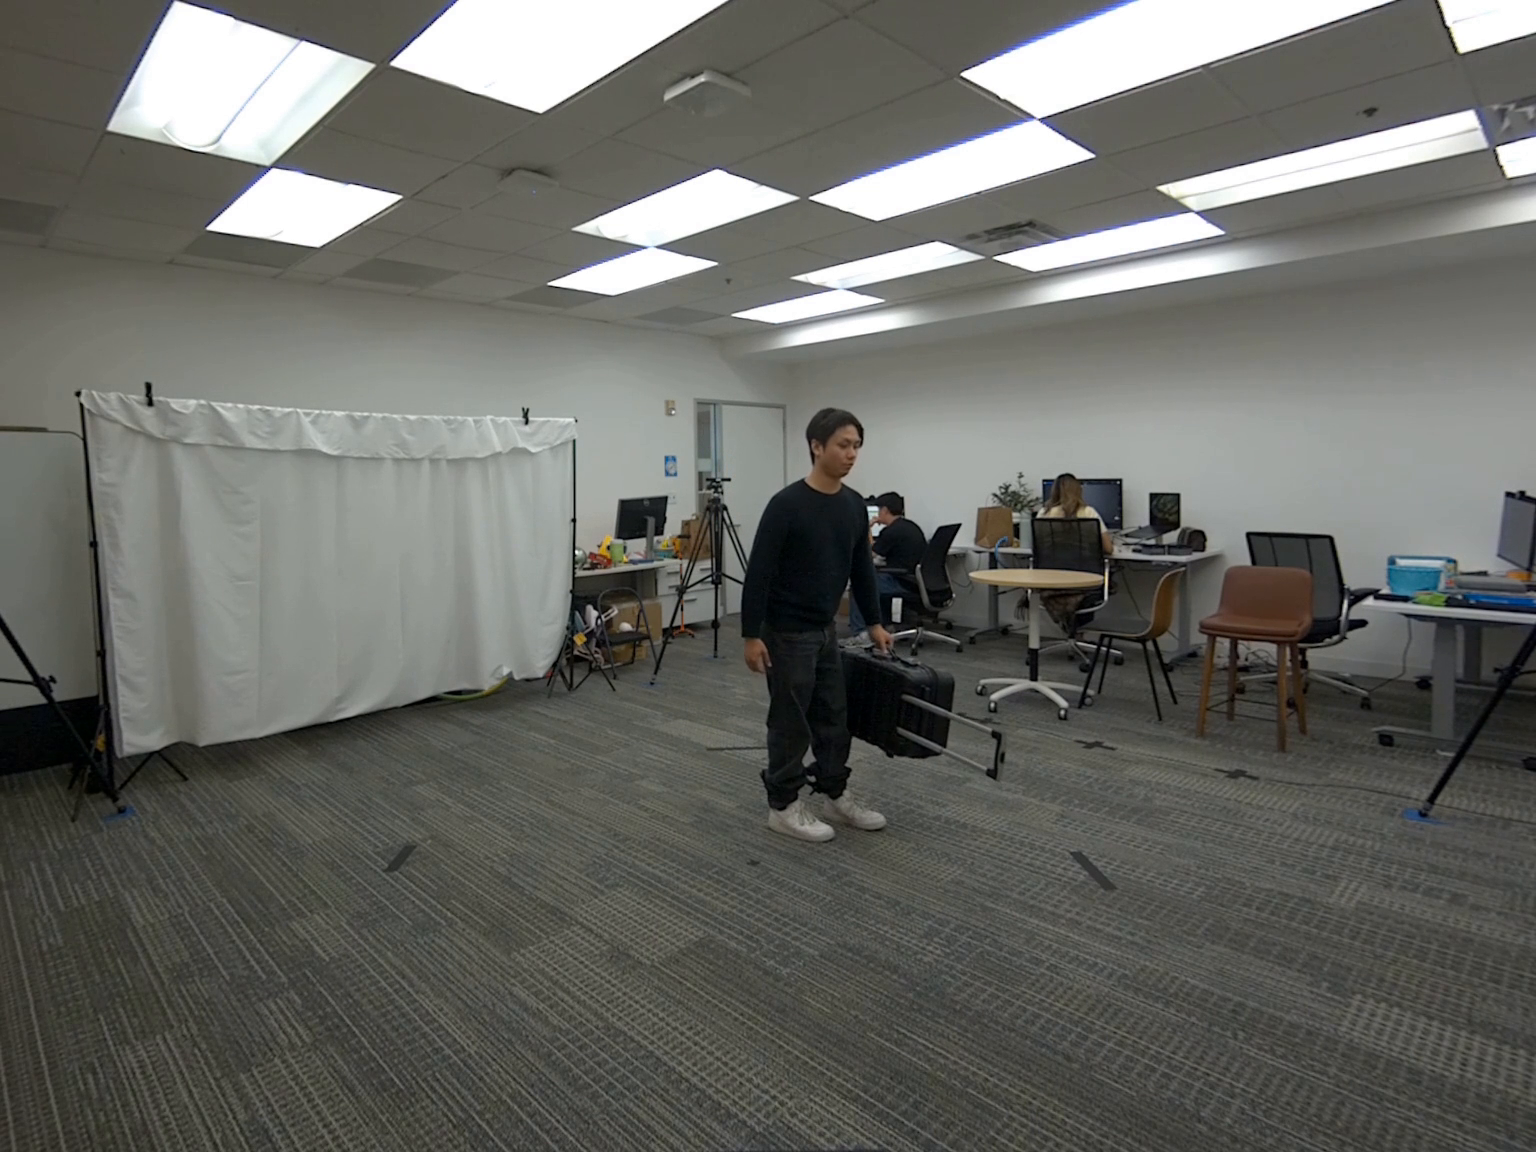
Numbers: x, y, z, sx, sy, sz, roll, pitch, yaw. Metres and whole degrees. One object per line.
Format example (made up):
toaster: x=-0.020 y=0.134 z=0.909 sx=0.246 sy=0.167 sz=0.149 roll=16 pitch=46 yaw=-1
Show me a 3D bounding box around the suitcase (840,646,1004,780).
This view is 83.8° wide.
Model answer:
suitcase: x=0.598 y=0.522 z=3.276 sx=0.250 sy=0.384 sz=1.007 roll=6 pitch=2 yaw=-32
